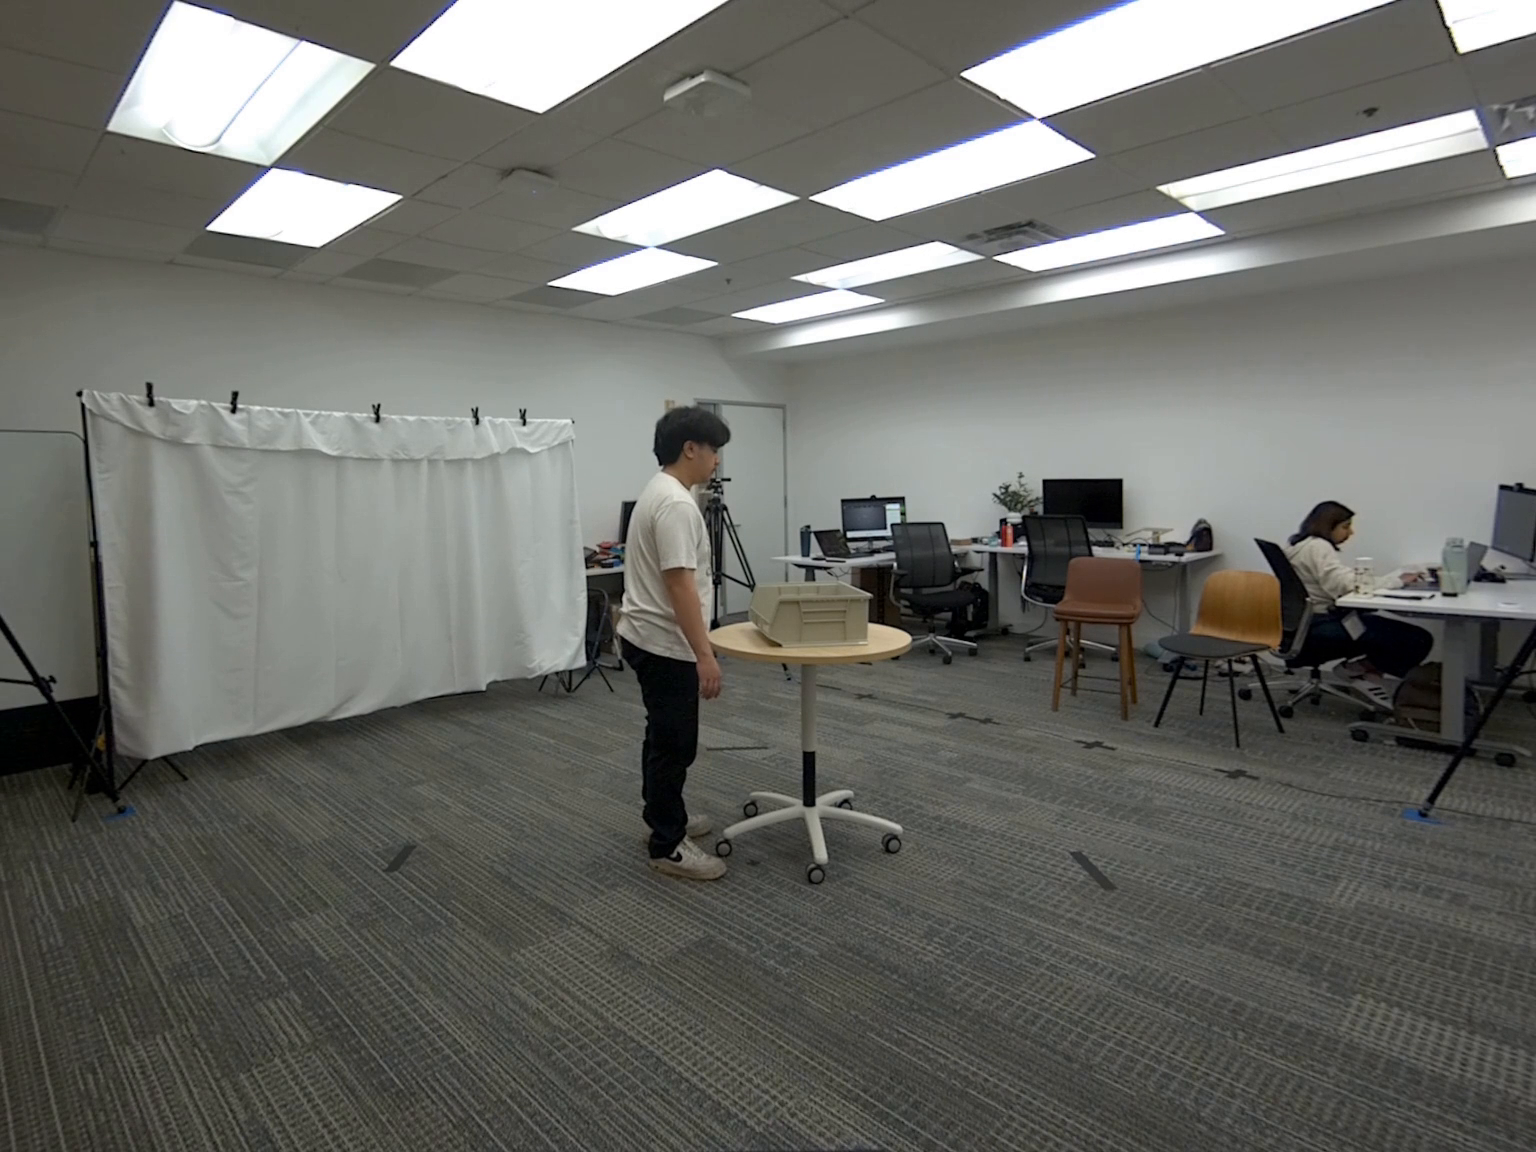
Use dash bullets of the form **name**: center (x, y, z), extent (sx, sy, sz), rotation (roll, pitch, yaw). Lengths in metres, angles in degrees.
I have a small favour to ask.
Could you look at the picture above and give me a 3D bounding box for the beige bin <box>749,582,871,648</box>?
- **beige bin**: center (0.142, 0.138, 3.219), extent (0.374, 0.188, 0.428), rotation (0, 6, -10)
